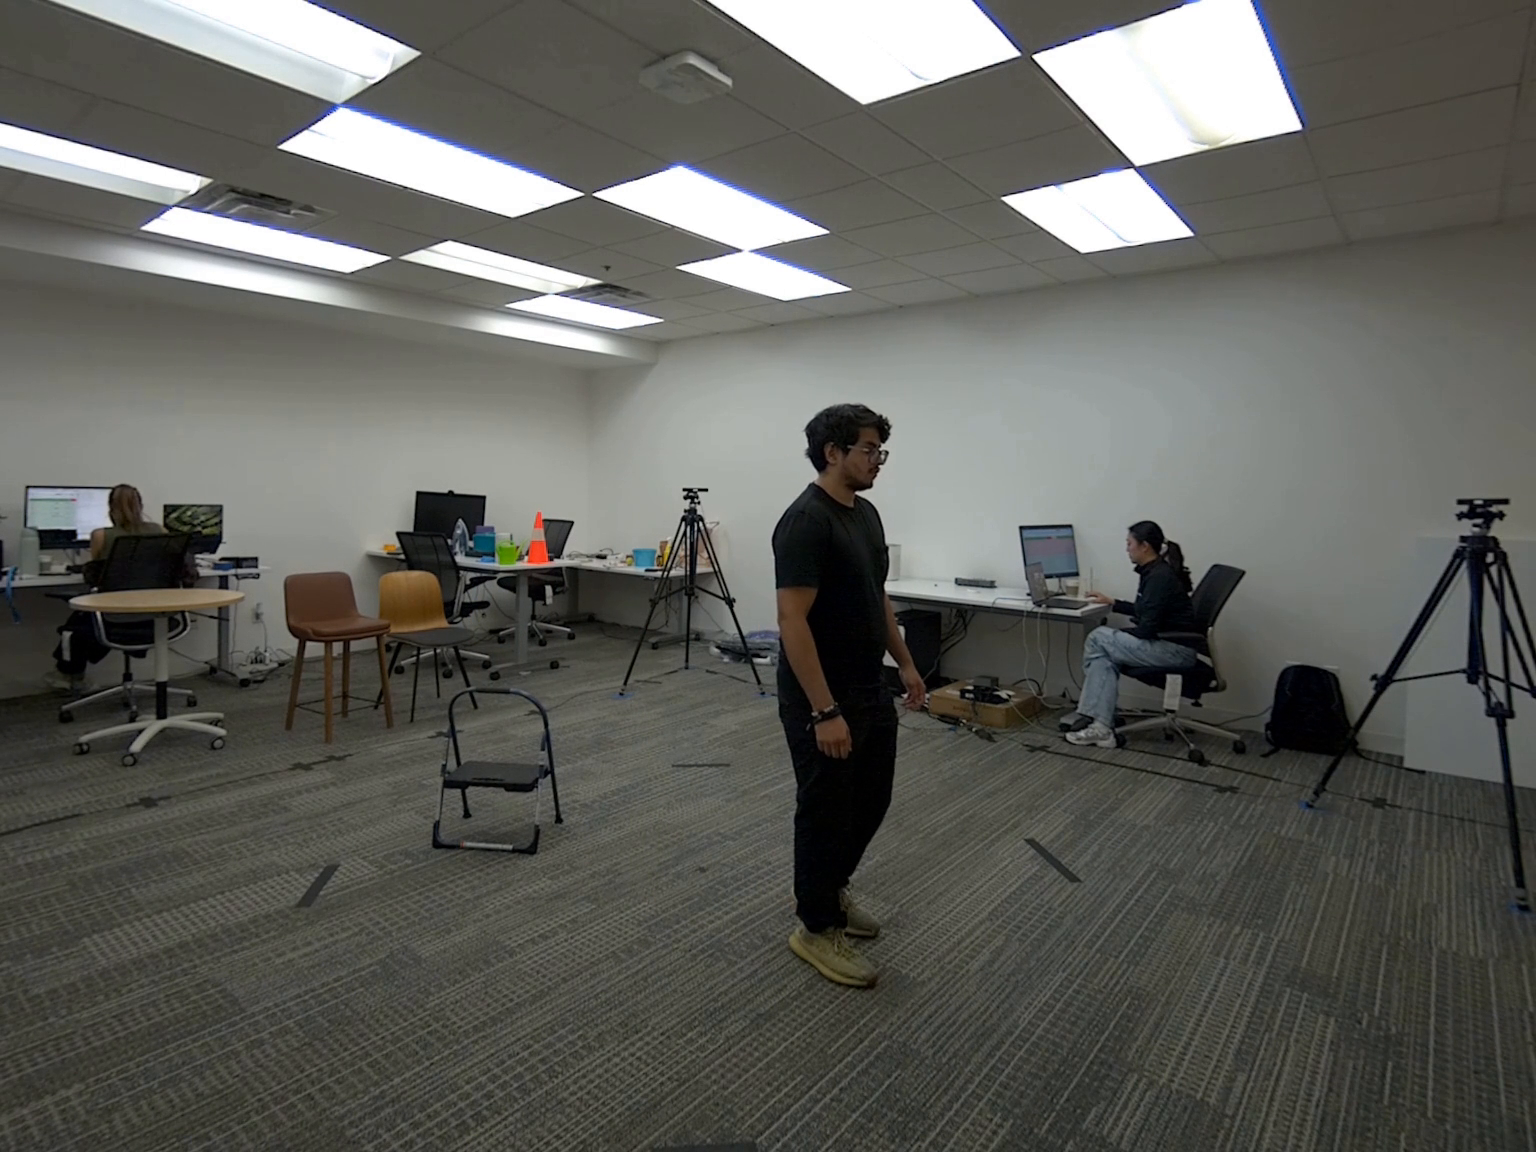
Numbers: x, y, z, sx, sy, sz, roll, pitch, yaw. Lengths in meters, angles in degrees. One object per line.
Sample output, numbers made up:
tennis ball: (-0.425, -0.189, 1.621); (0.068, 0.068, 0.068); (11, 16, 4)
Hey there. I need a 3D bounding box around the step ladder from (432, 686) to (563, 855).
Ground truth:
step ladder: (-1.084, 0.727, 3.382); (0.433, 0.604, 0.348); (1, 3, 4)
